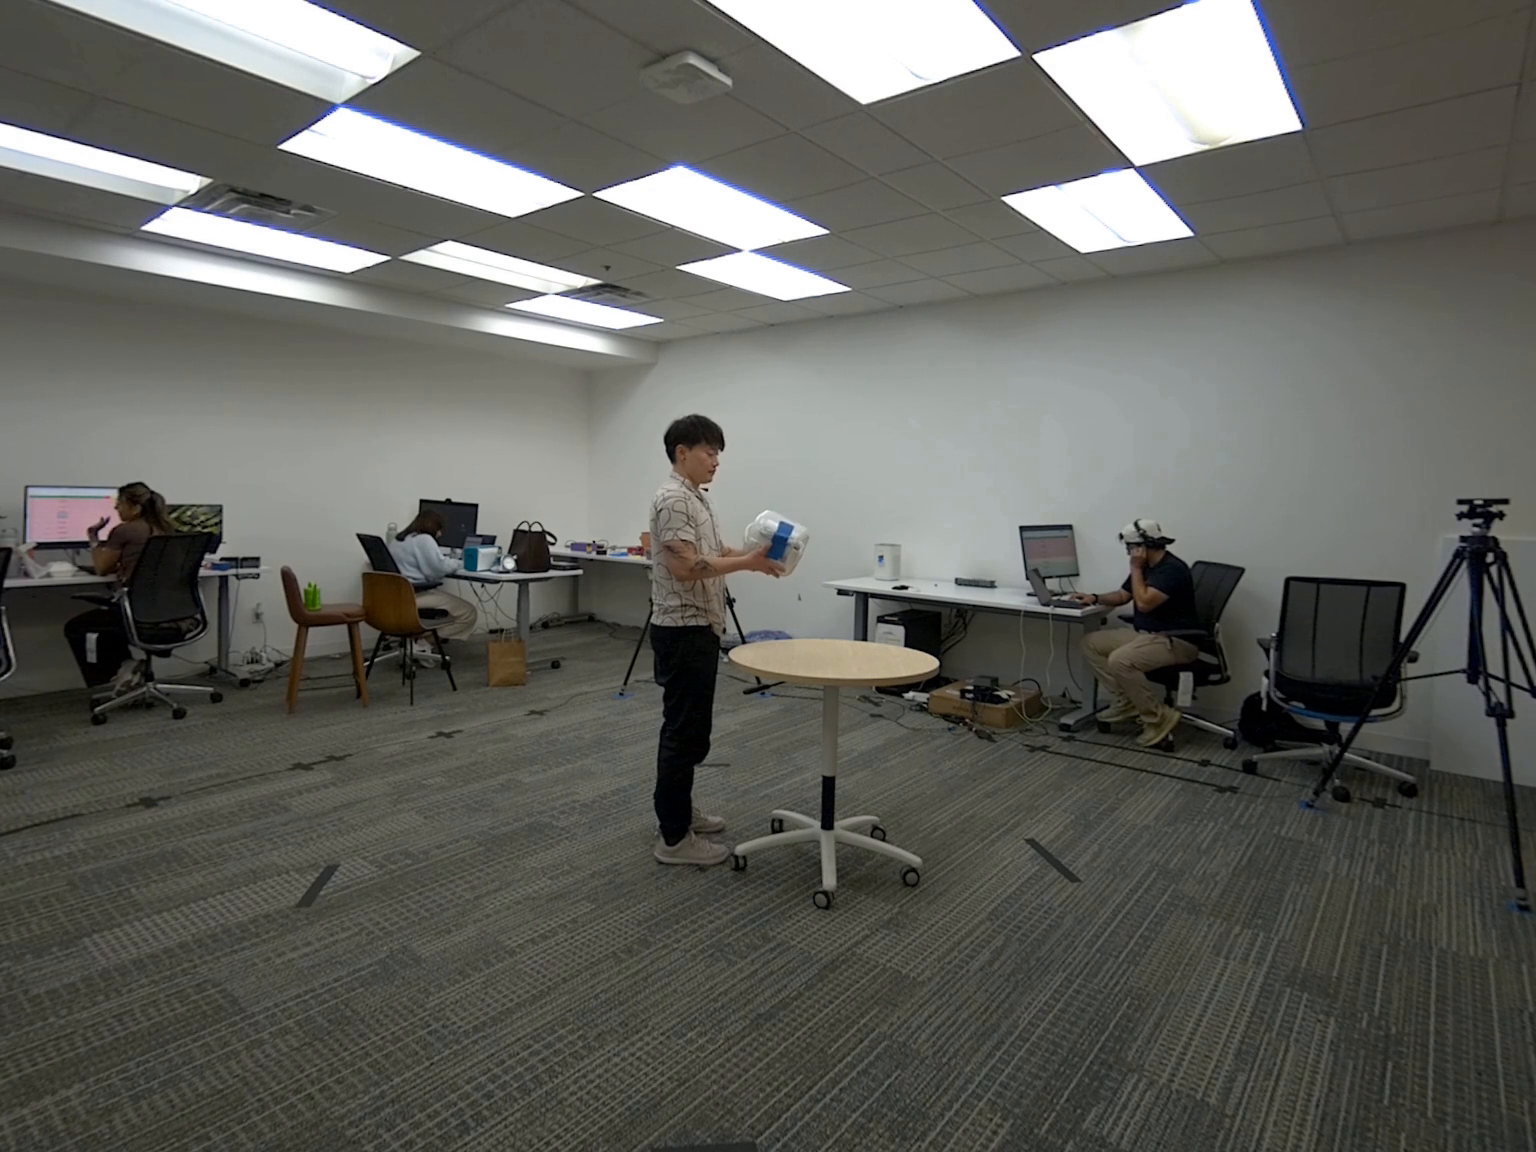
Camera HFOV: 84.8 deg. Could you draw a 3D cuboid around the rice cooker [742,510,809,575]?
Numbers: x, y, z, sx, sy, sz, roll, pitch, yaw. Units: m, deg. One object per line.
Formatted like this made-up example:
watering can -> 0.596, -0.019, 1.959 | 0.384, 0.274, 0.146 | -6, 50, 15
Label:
rice cooker -> 0.008, -0.129, 3.265 | 0.236, 0.214, 0.221 | 27, 34, 9
